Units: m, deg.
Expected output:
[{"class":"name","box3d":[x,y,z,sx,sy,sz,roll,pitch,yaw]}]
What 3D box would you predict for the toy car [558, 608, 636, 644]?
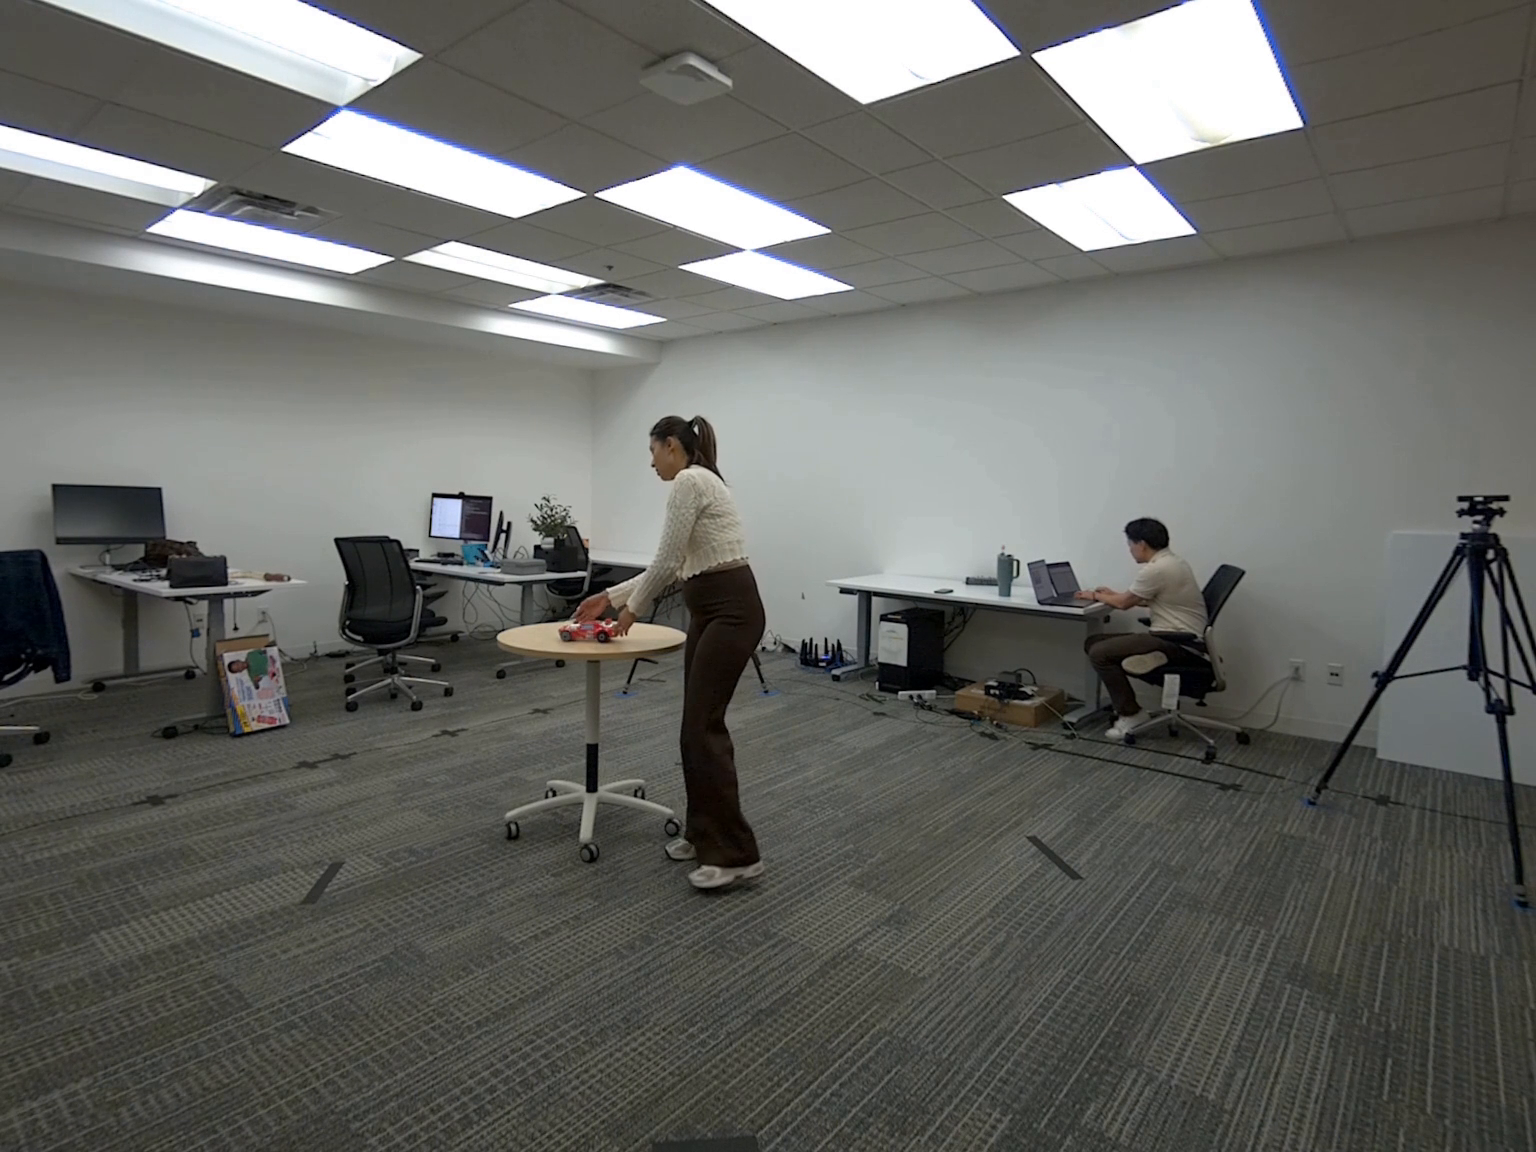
[{"class":"toy car","box3d":[-0.702,0.218,3.353,0.256,0.083,0.130,-10,4,6]}]
